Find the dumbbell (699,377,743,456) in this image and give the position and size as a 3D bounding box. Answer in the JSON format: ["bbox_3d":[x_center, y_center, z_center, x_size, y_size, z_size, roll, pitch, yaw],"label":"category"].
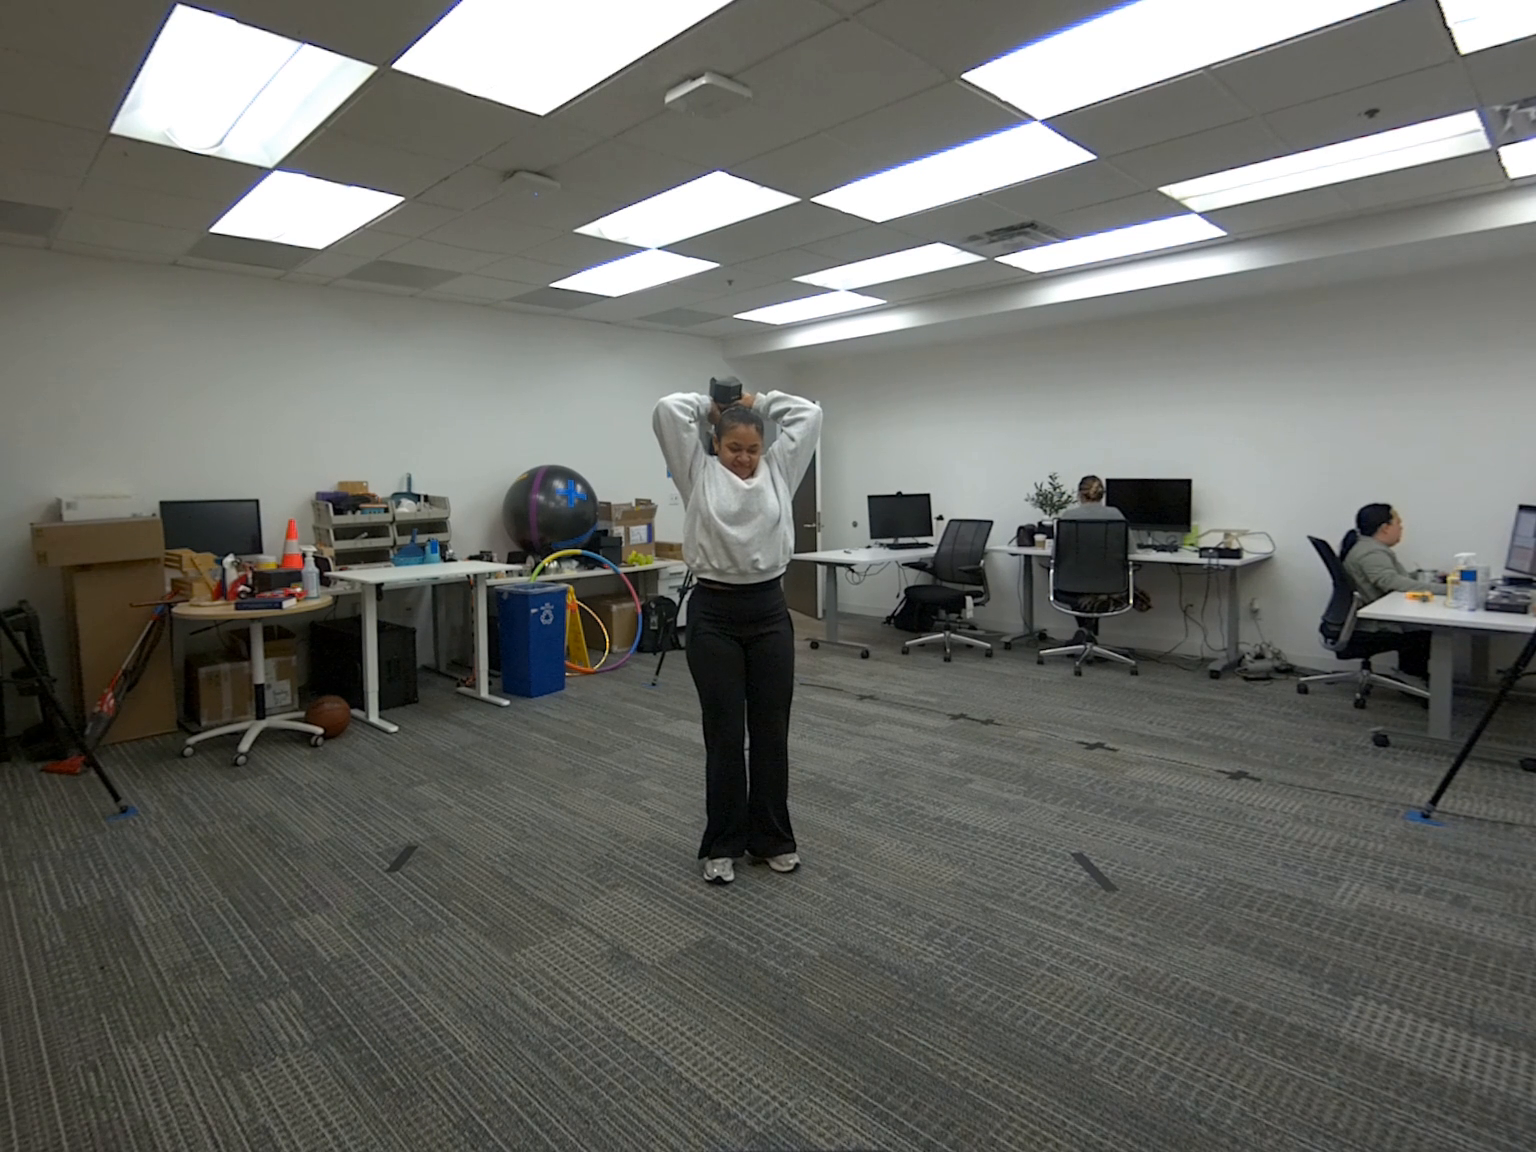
[{"bbox_3d":[-0.165,-0.605,3.199,0.112,0.288,0.121,27,34,29],"label":"dumbbell"}]
